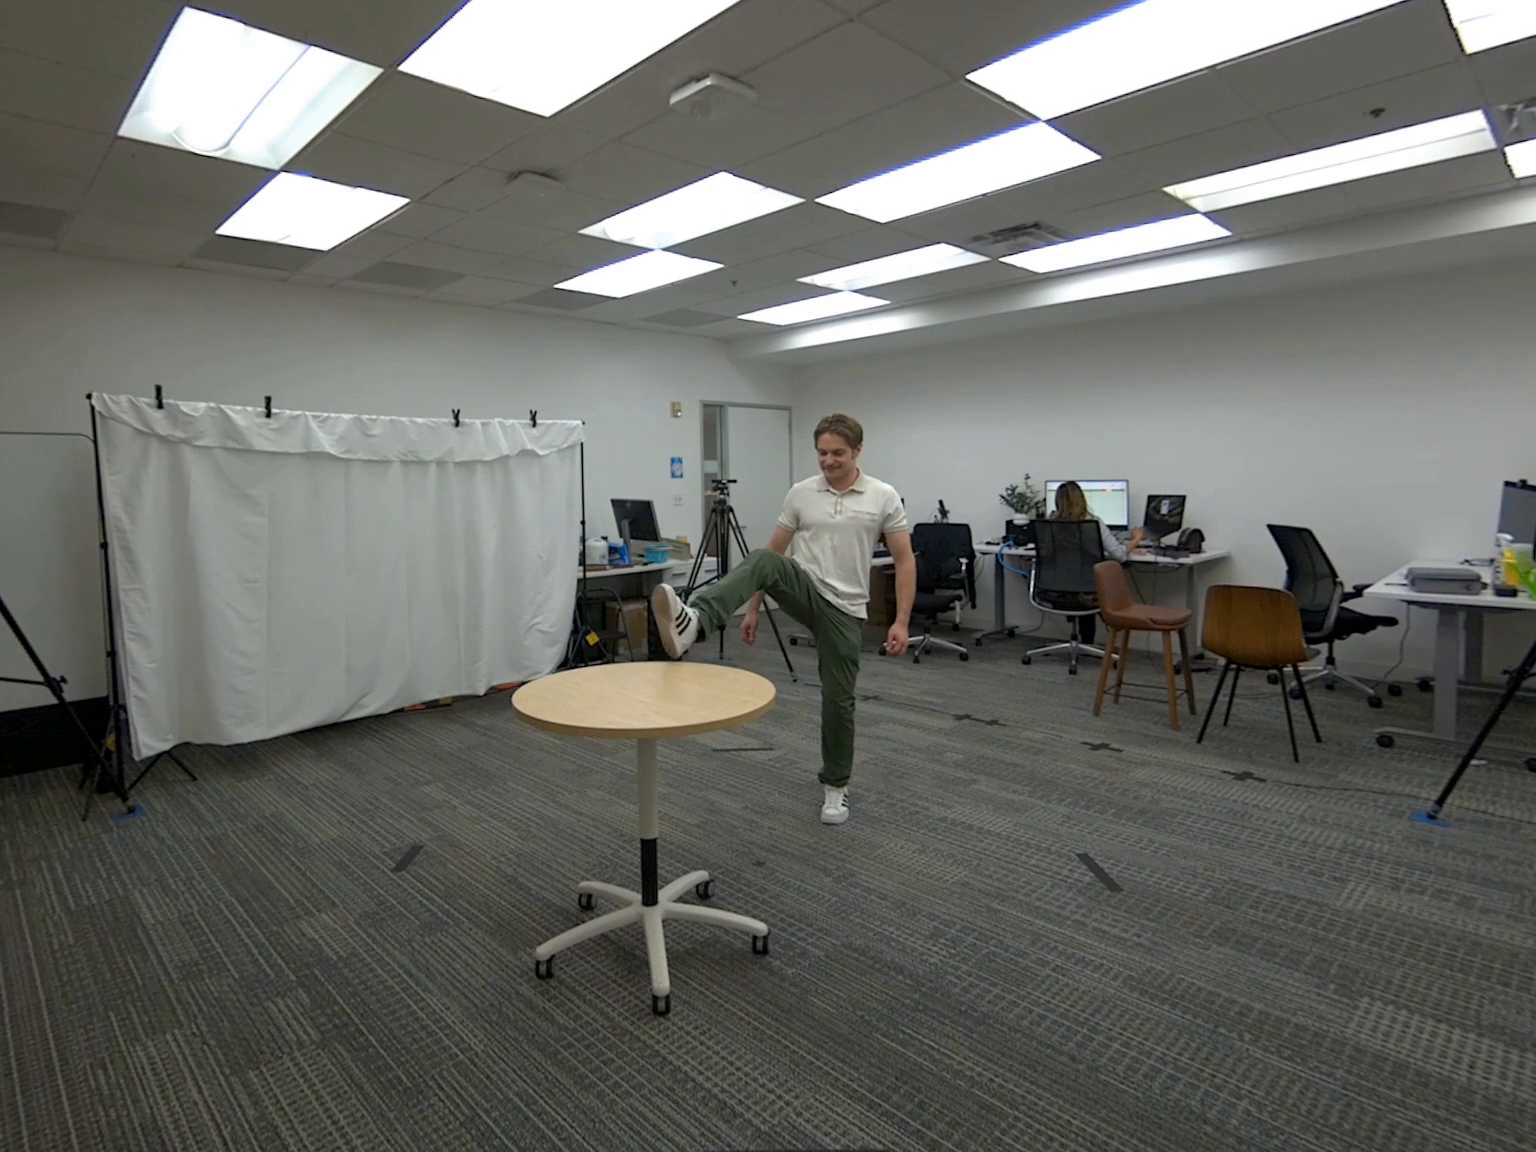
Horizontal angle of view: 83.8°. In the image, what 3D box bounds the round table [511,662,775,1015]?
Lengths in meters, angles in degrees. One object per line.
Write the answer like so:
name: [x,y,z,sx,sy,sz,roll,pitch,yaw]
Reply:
round table: [-0.355,0.731,2.545,0.763,0.791,0.768,-1,5,-2]
